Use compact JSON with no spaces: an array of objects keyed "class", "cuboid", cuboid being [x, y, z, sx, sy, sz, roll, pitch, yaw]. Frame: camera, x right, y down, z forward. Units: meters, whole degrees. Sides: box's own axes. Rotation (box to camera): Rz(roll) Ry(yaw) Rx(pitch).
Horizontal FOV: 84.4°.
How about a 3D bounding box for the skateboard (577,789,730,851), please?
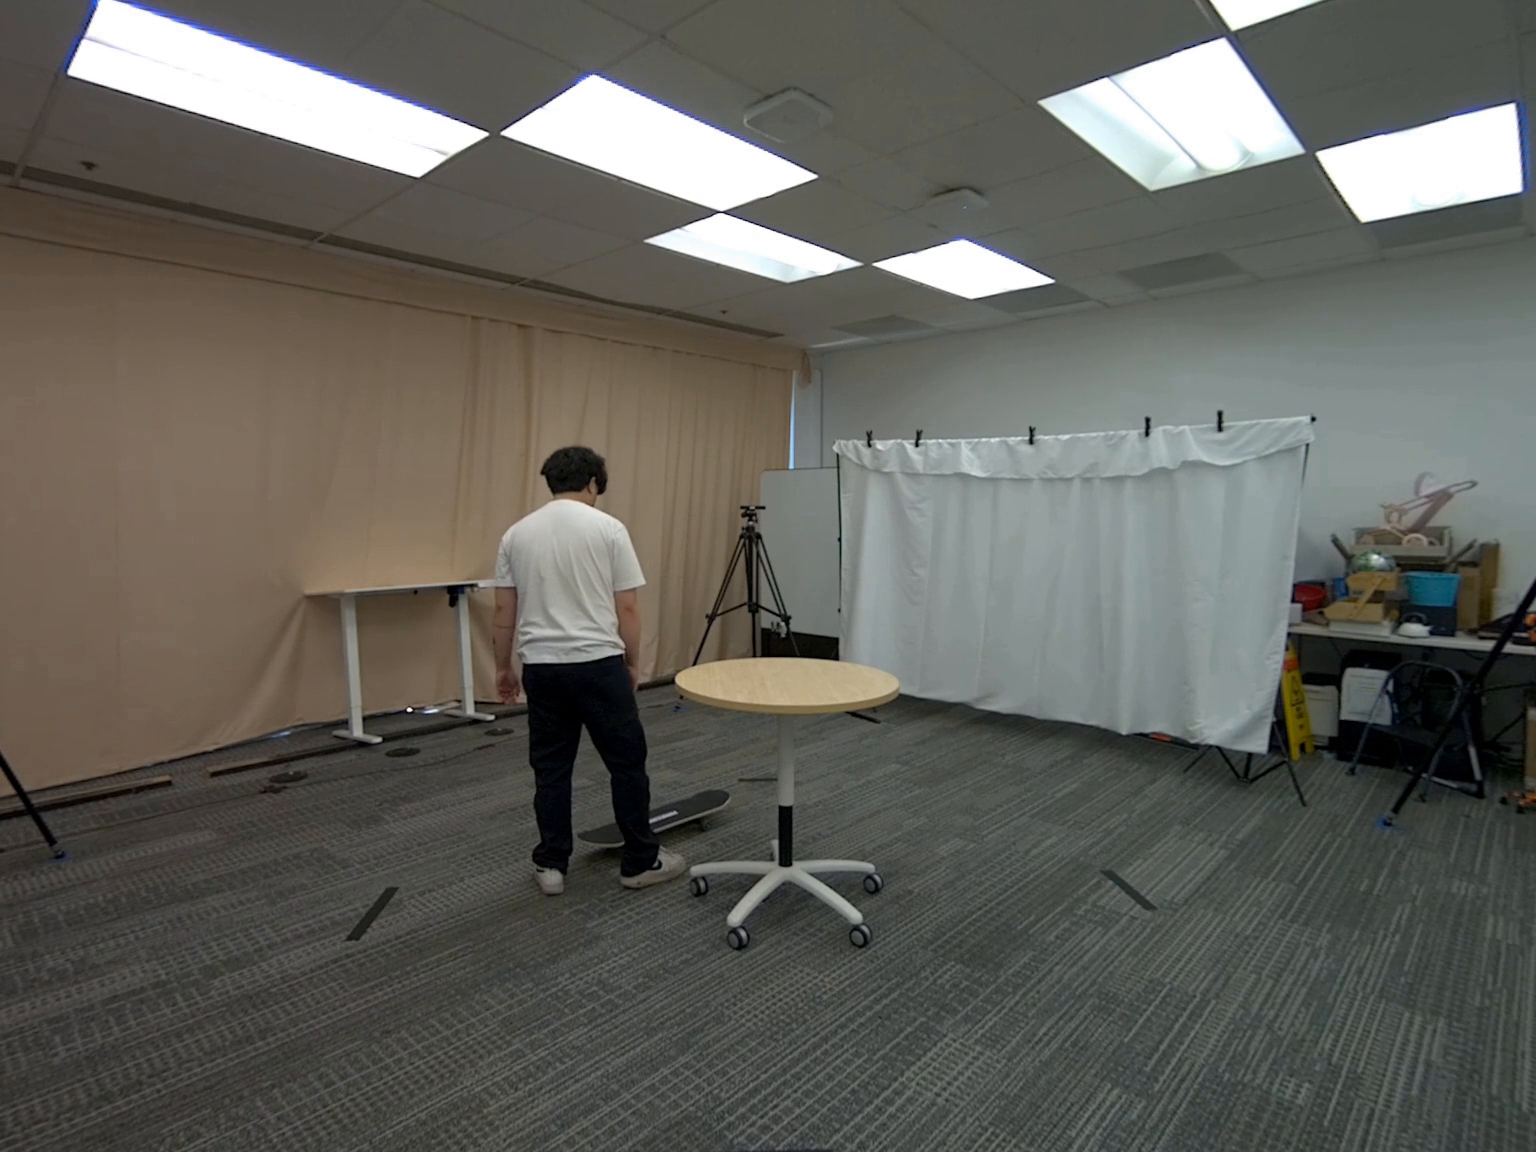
[{"class":"skateboard","cuboid":[-0.469,1.053,3.532,0.200,0.110,0.761,3,6,44]}]
